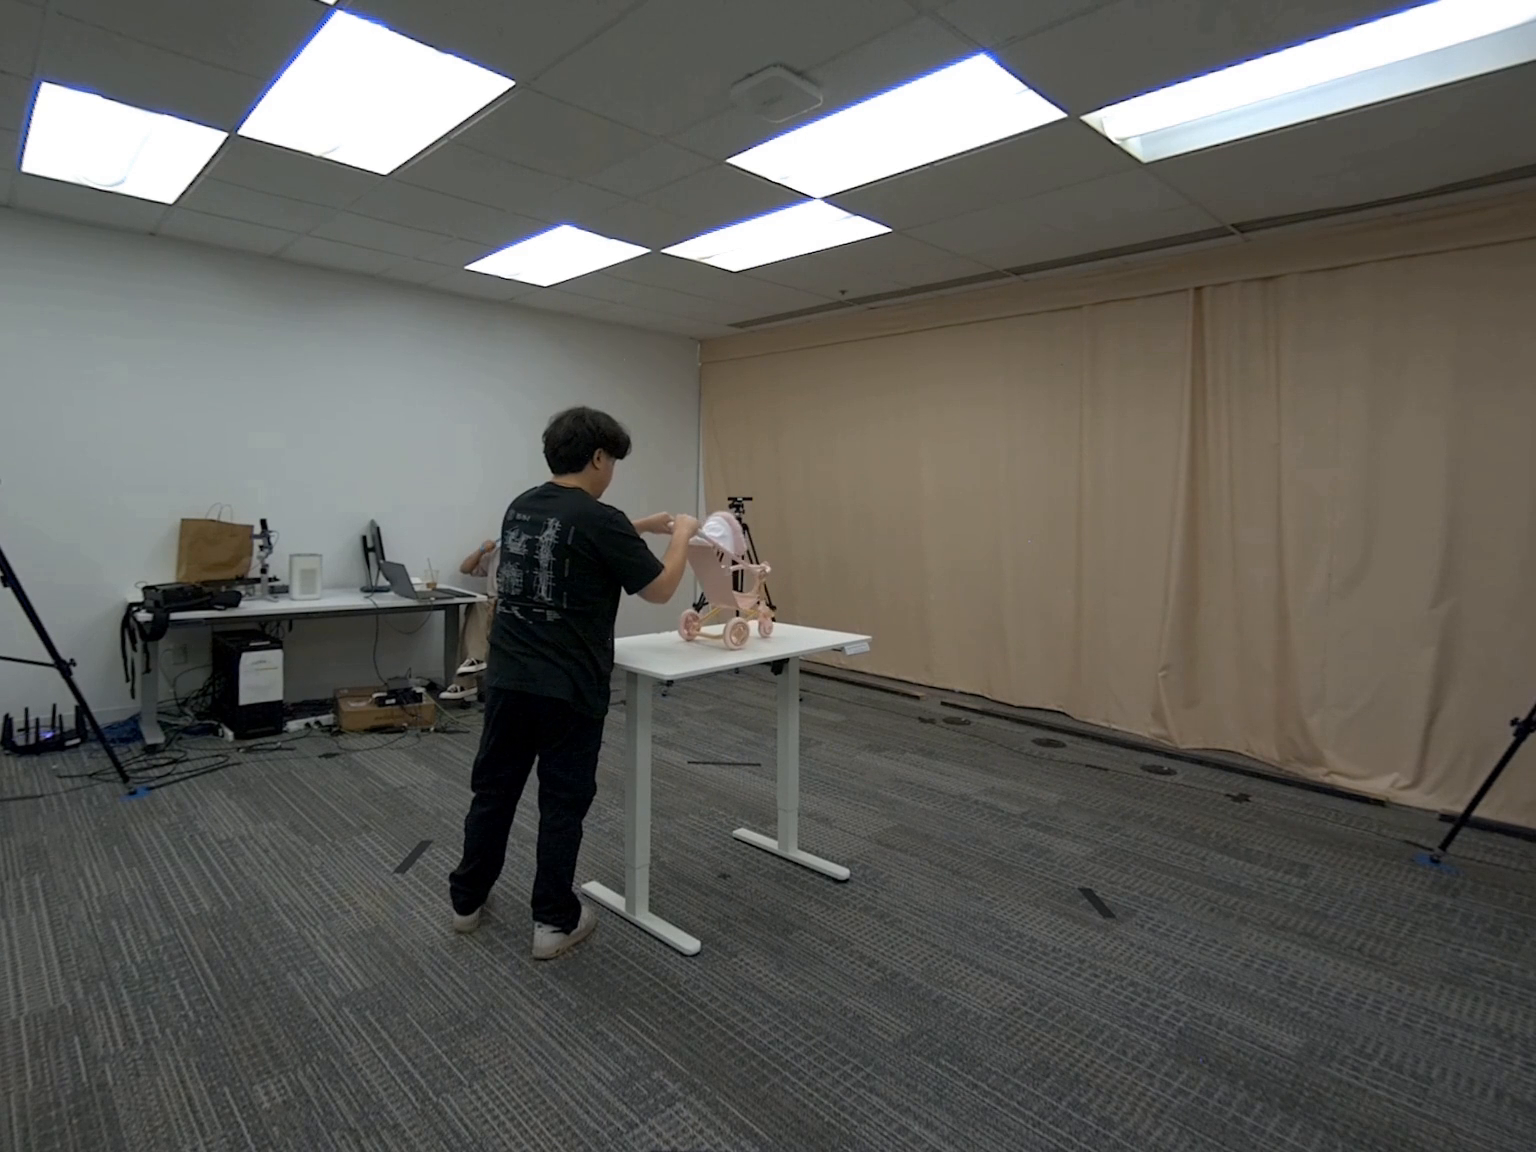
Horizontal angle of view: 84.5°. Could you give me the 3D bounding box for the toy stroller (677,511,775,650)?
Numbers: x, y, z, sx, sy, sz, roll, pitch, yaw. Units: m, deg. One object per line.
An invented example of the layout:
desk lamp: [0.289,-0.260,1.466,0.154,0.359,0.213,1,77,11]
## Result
toy stroller: [-0.151,0.015,2.948,0.337,0.529,0.288,-21,17,-36]
